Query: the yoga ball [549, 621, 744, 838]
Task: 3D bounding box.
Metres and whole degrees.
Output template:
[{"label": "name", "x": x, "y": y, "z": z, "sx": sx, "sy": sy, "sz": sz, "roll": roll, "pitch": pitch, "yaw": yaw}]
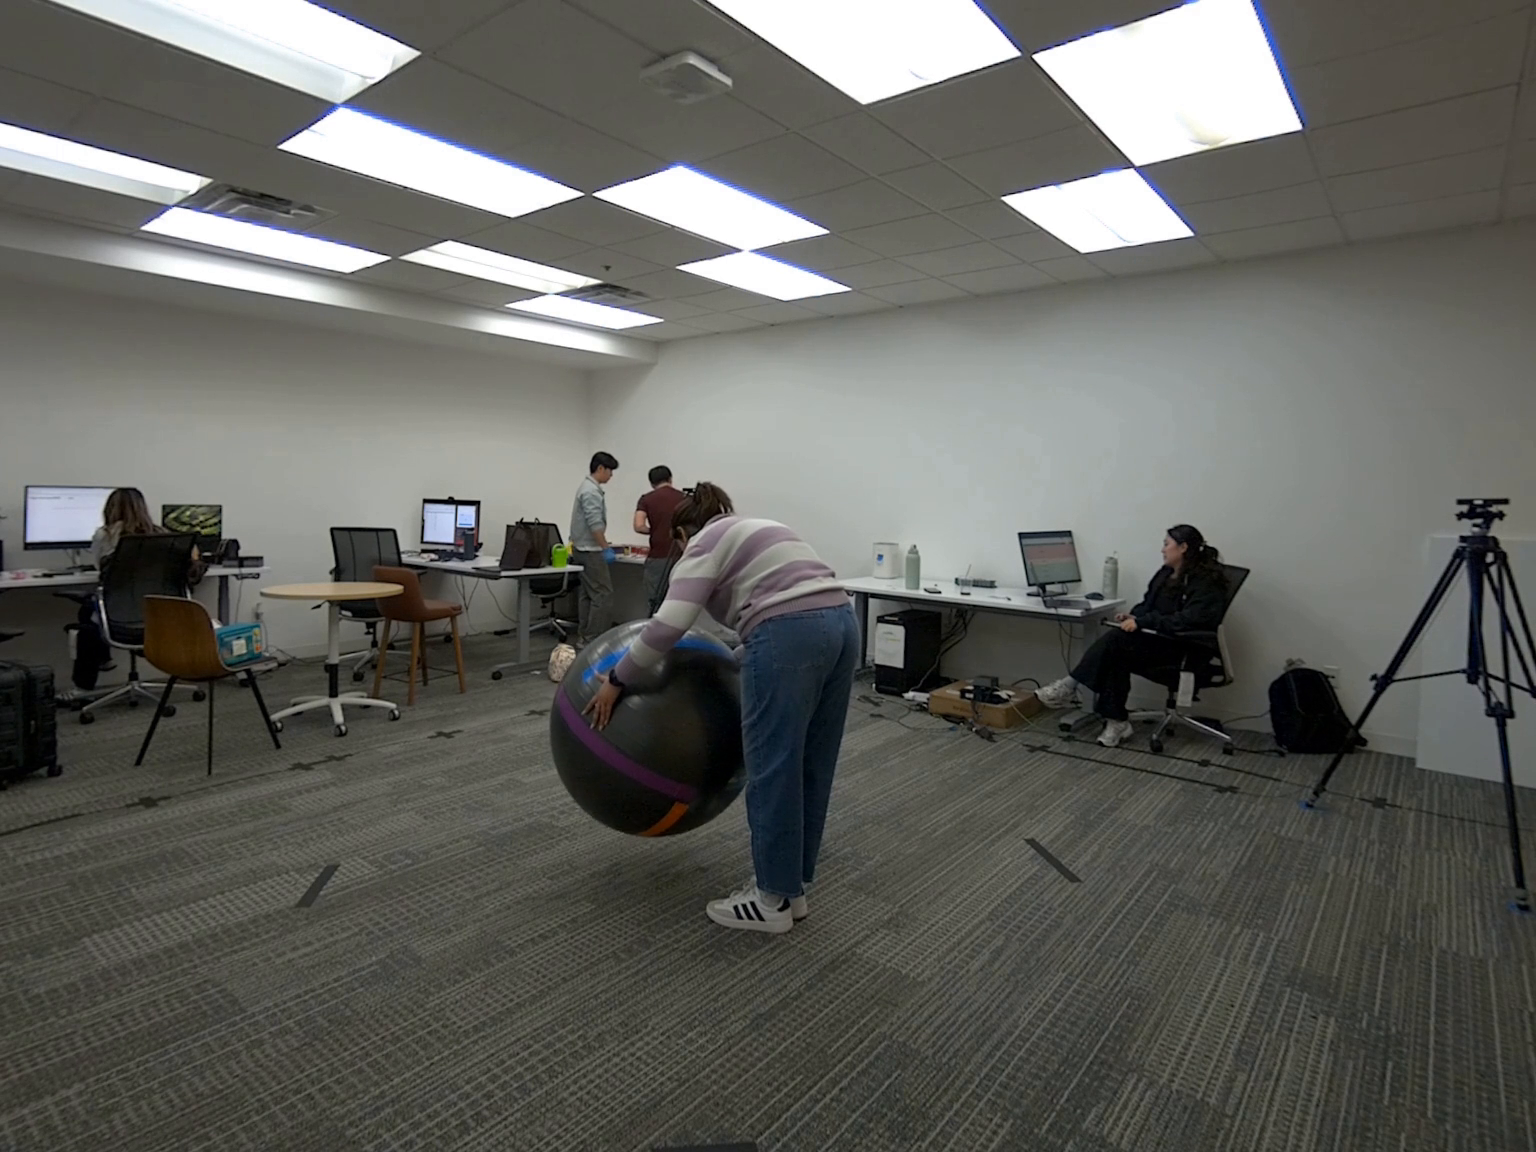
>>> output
[{"label": "yoga ball", "x": -0.405, "y": 0.539, "z": 3.049, "sx": 0.757, "sy": 0.755, "sz": 0.762, "roll": 1, "pitch": 4, "yaw": -2}]
